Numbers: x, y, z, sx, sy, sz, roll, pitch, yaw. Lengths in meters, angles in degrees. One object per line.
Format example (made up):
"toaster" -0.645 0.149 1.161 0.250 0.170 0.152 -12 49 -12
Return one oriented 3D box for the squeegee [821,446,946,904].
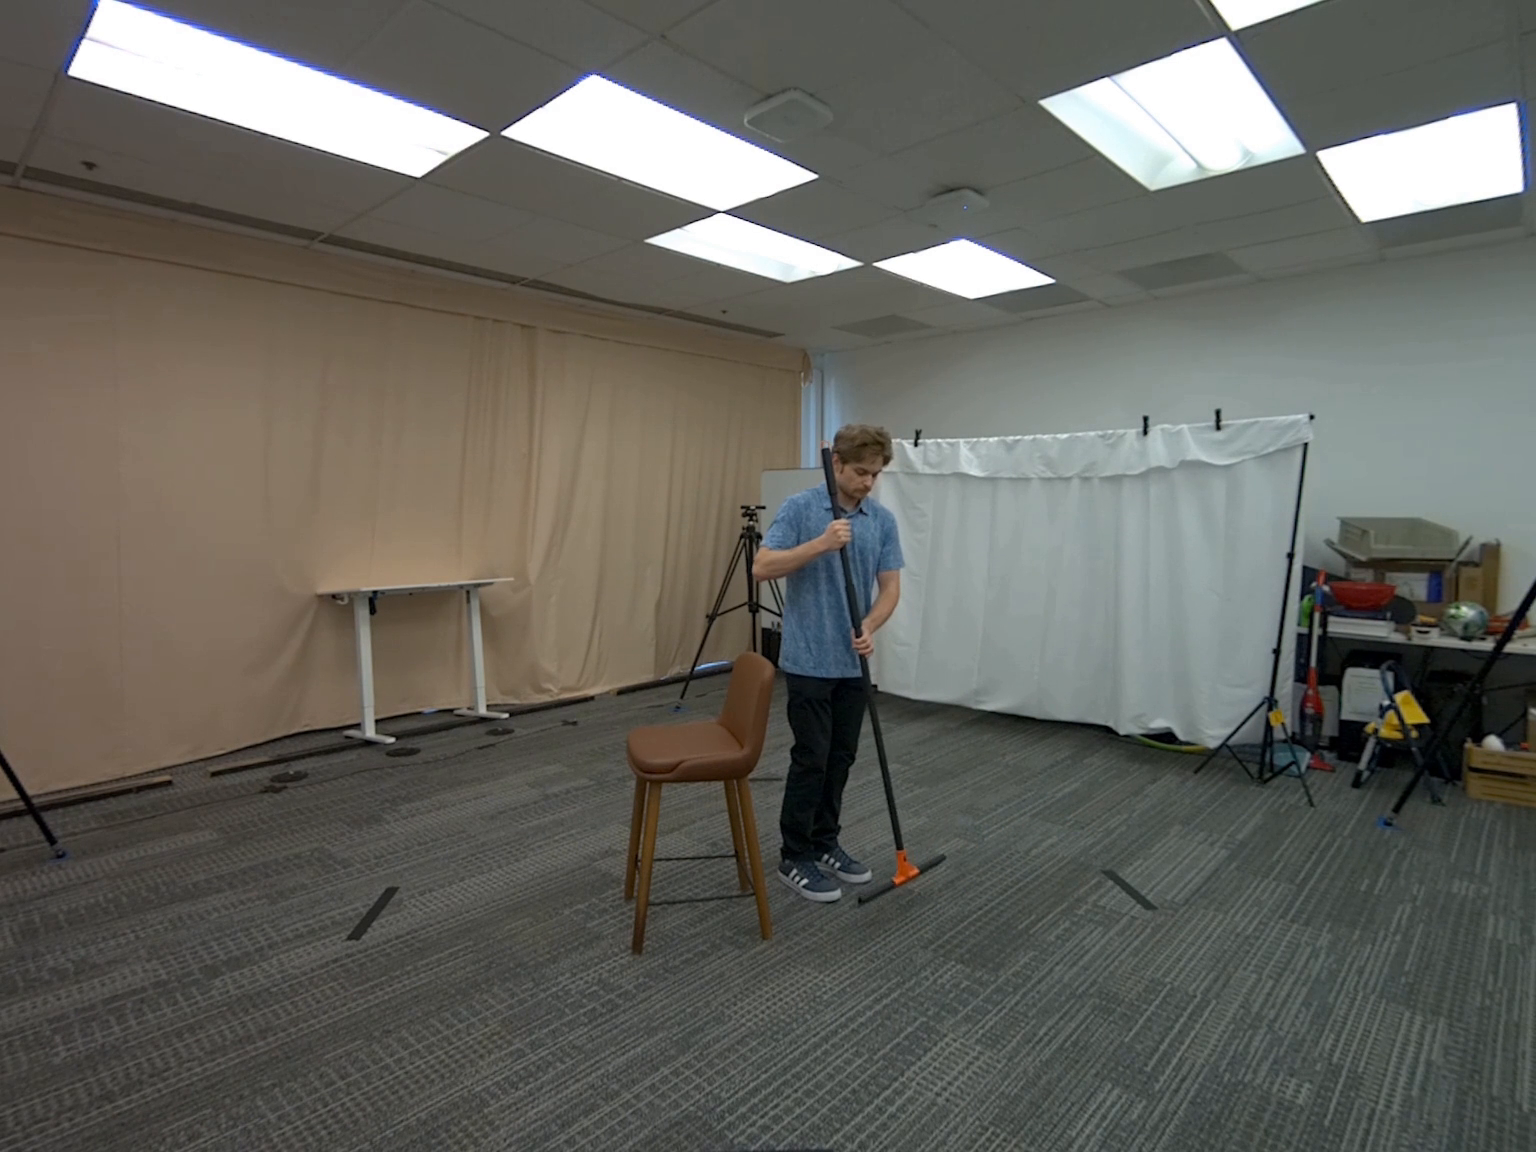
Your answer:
"squeegee" 0.377 0.302 2.885 0.425 1.540 0.054 -6 -2 -36
